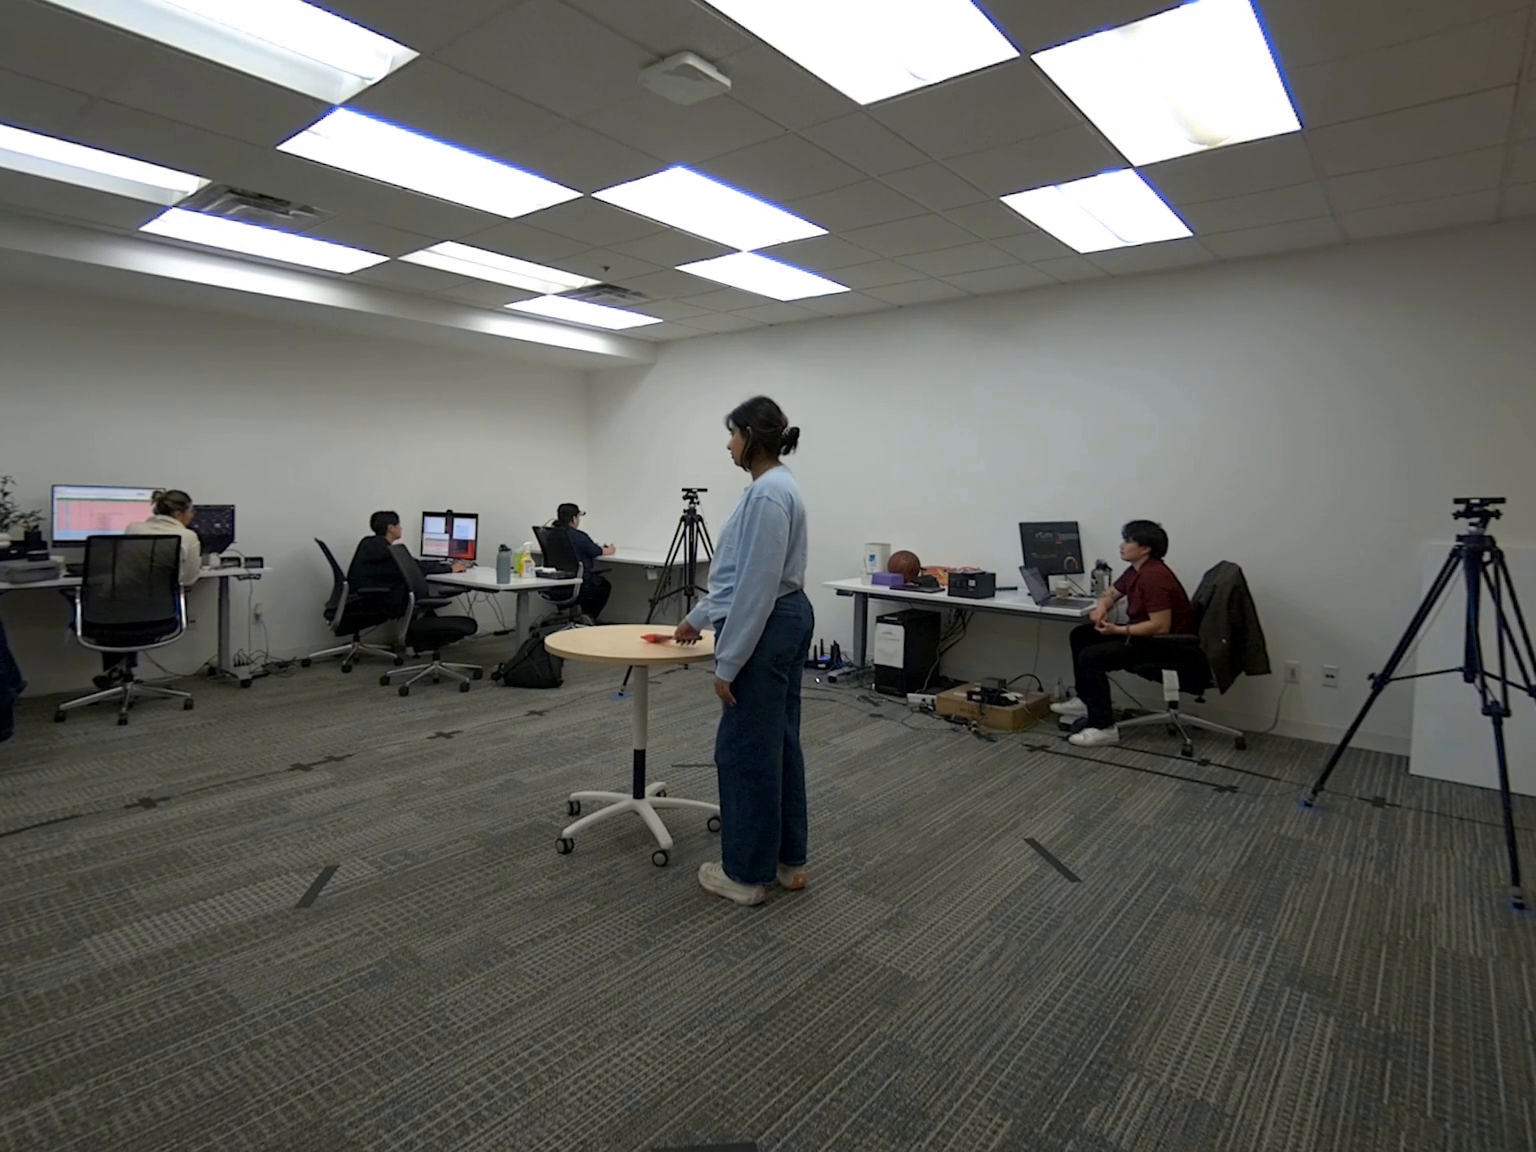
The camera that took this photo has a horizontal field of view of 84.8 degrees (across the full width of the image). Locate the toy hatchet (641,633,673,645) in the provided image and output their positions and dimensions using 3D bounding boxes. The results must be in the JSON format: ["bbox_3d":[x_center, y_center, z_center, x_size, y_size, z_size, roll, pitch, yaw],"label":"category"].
[{"bbox_3d":[-0.368,0.243,3.310,0.278,0.030,0.126,1,-7,29],"label":"toy hatchet"}]
